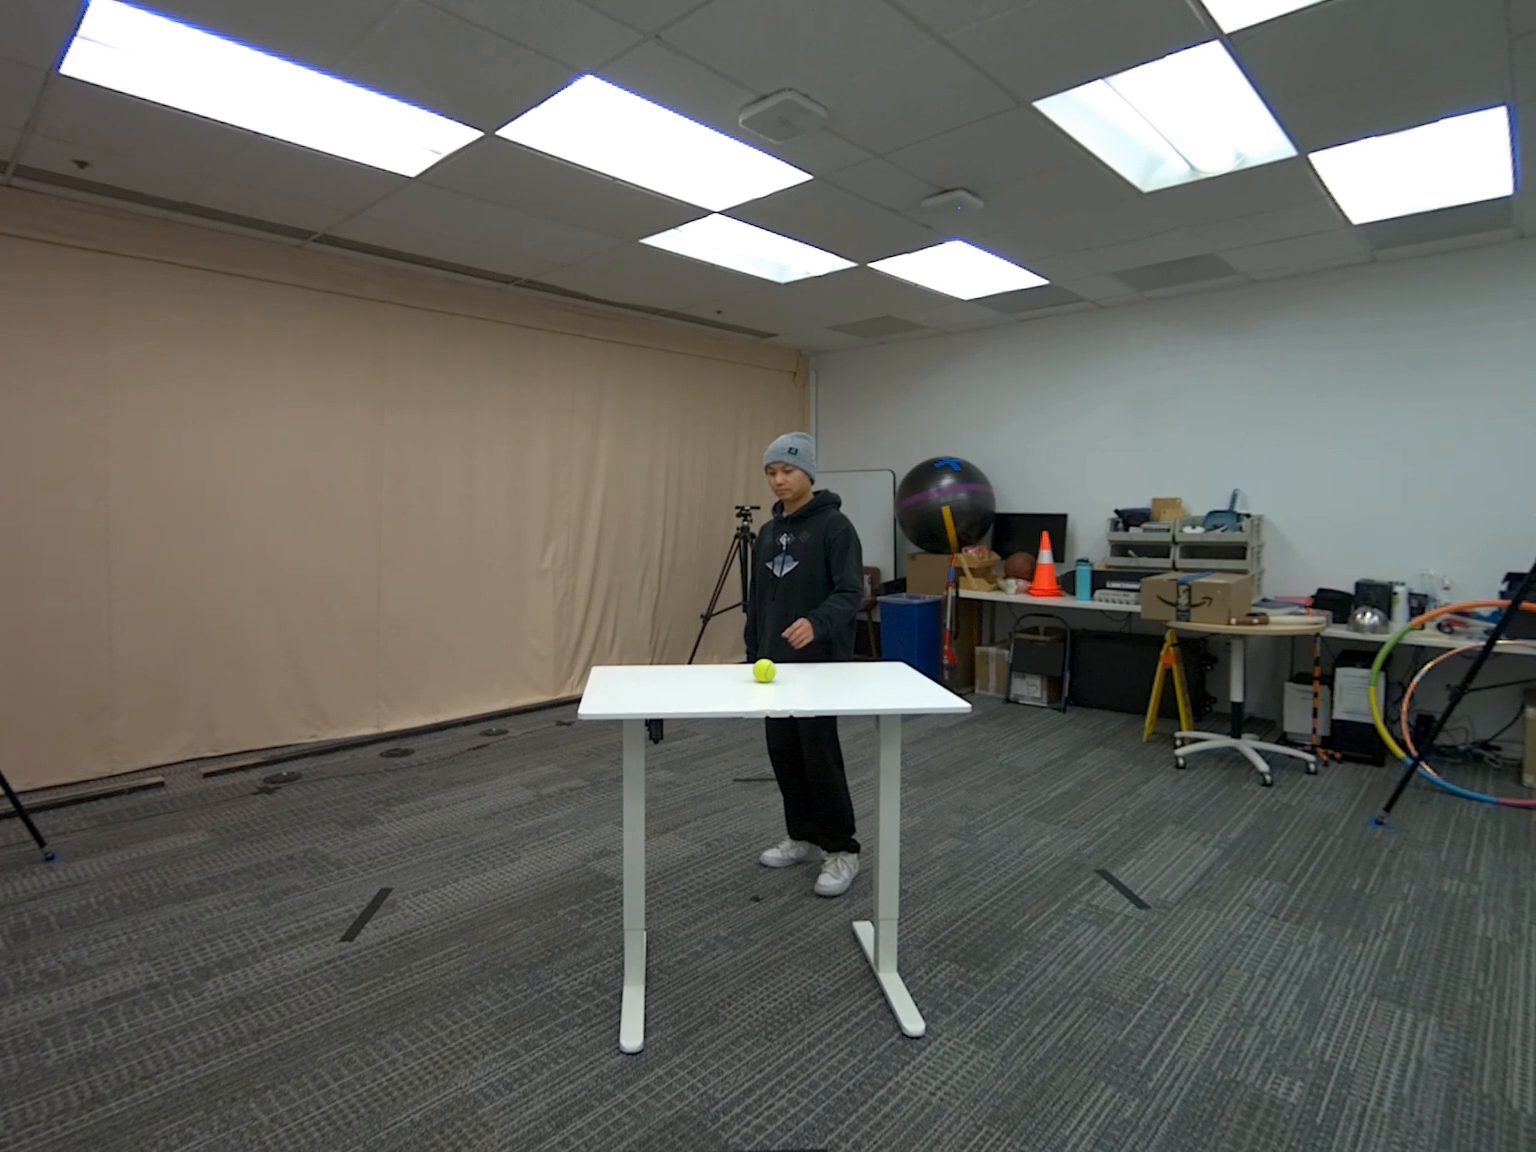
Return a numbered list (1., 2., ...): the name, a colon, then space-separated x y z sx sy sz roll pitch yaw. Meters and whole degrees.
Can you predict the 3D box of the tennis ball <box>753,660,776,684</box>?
1. tennis ball: -0.005 0.274 2.445 0.066 0.066 0.067 0 4 -2
